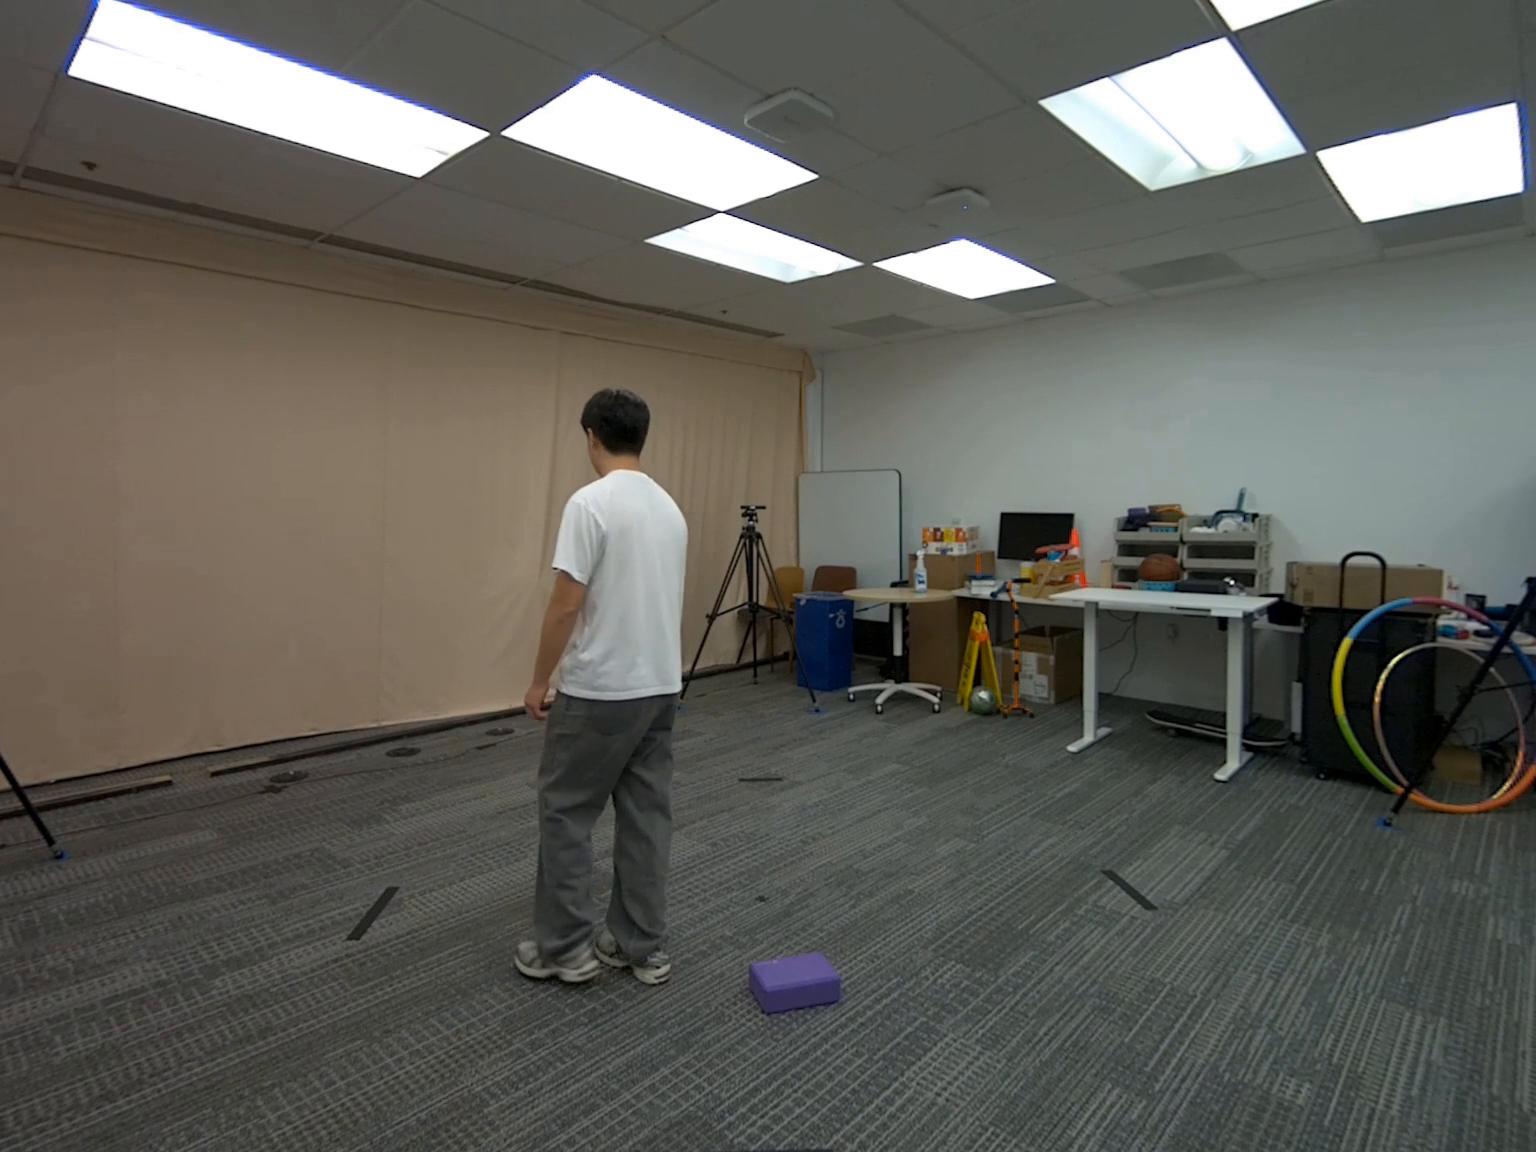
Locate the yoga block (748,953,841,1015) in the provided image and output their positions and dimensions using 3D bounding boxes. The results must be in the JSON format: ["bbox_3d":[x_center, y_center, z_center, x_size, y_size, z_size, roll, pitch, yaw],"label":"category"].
[{"bbox_3d":[0.085,1.158,2.385,0.225,0.076,0.152,0,4,-17],"label":"yoga block"}]
